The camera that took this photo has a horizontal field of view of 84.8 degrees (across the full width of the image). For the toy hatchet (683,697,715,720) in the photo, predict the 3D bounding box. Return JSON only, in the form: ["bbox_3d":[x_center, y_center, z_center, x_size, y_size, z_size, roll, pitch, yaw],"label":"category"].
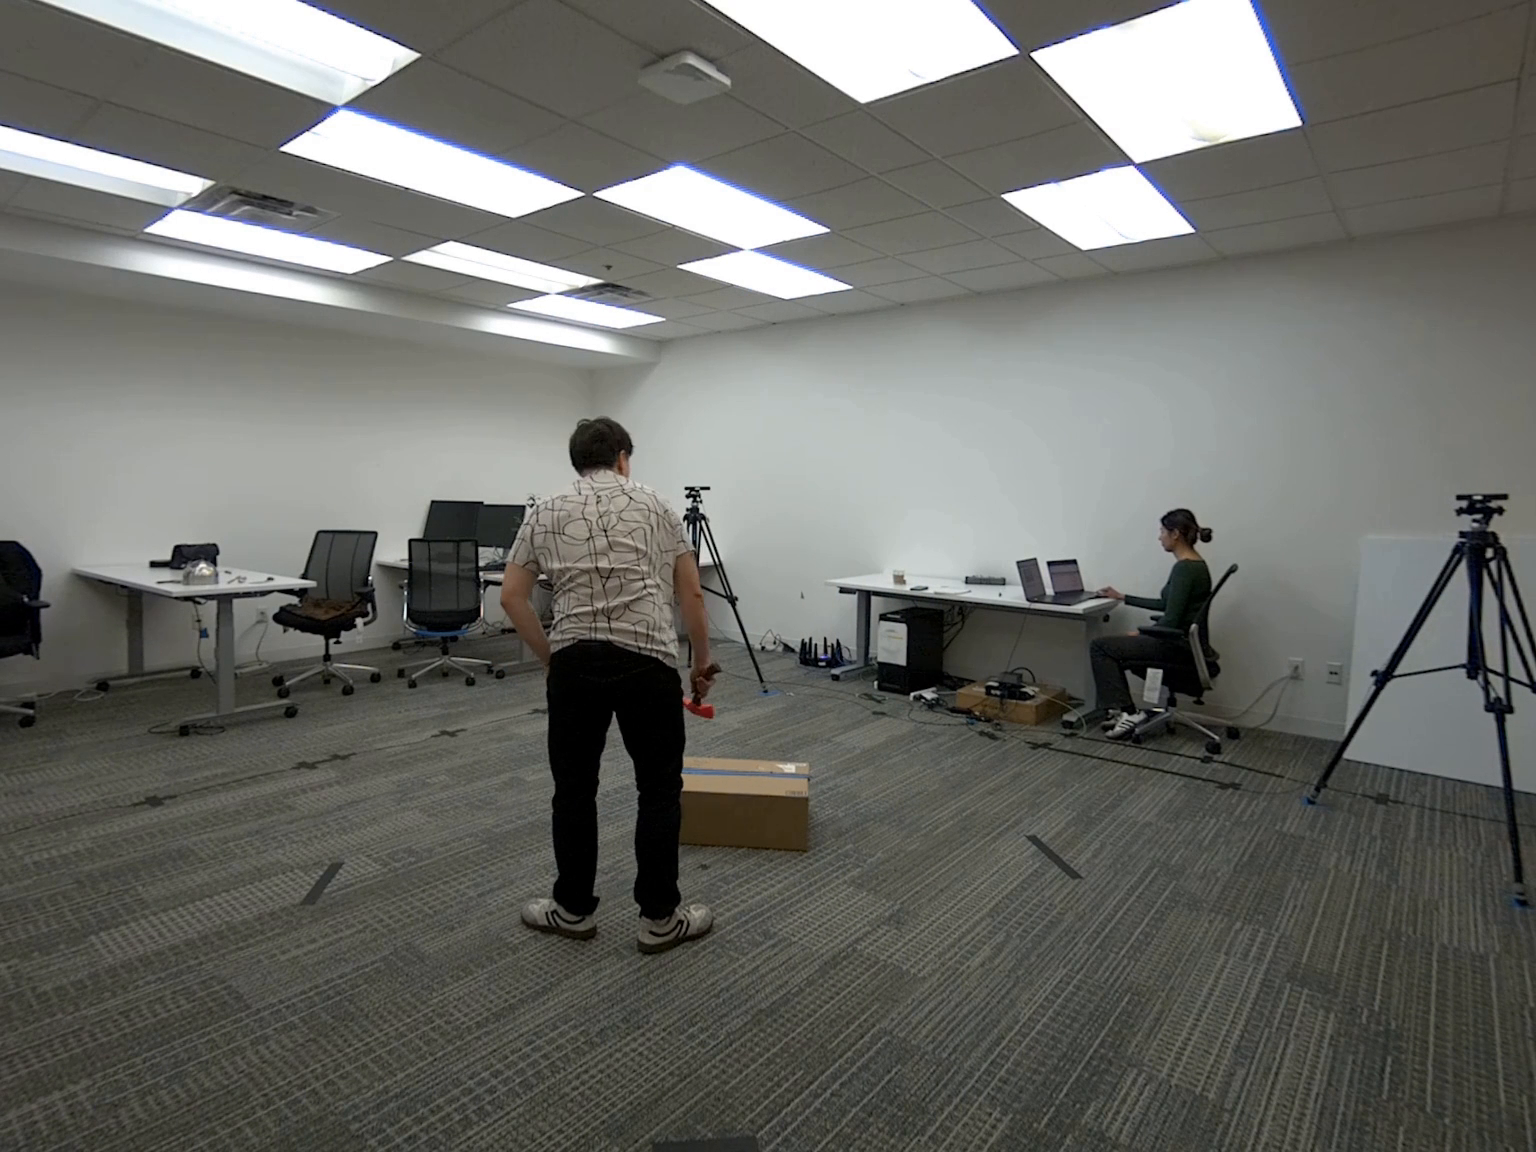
[{"bbox_3d":[-0.204,0.387,2.754,0.029,0.131,0.270,-43,-2,-44],"label":"toy hatchet"}]
